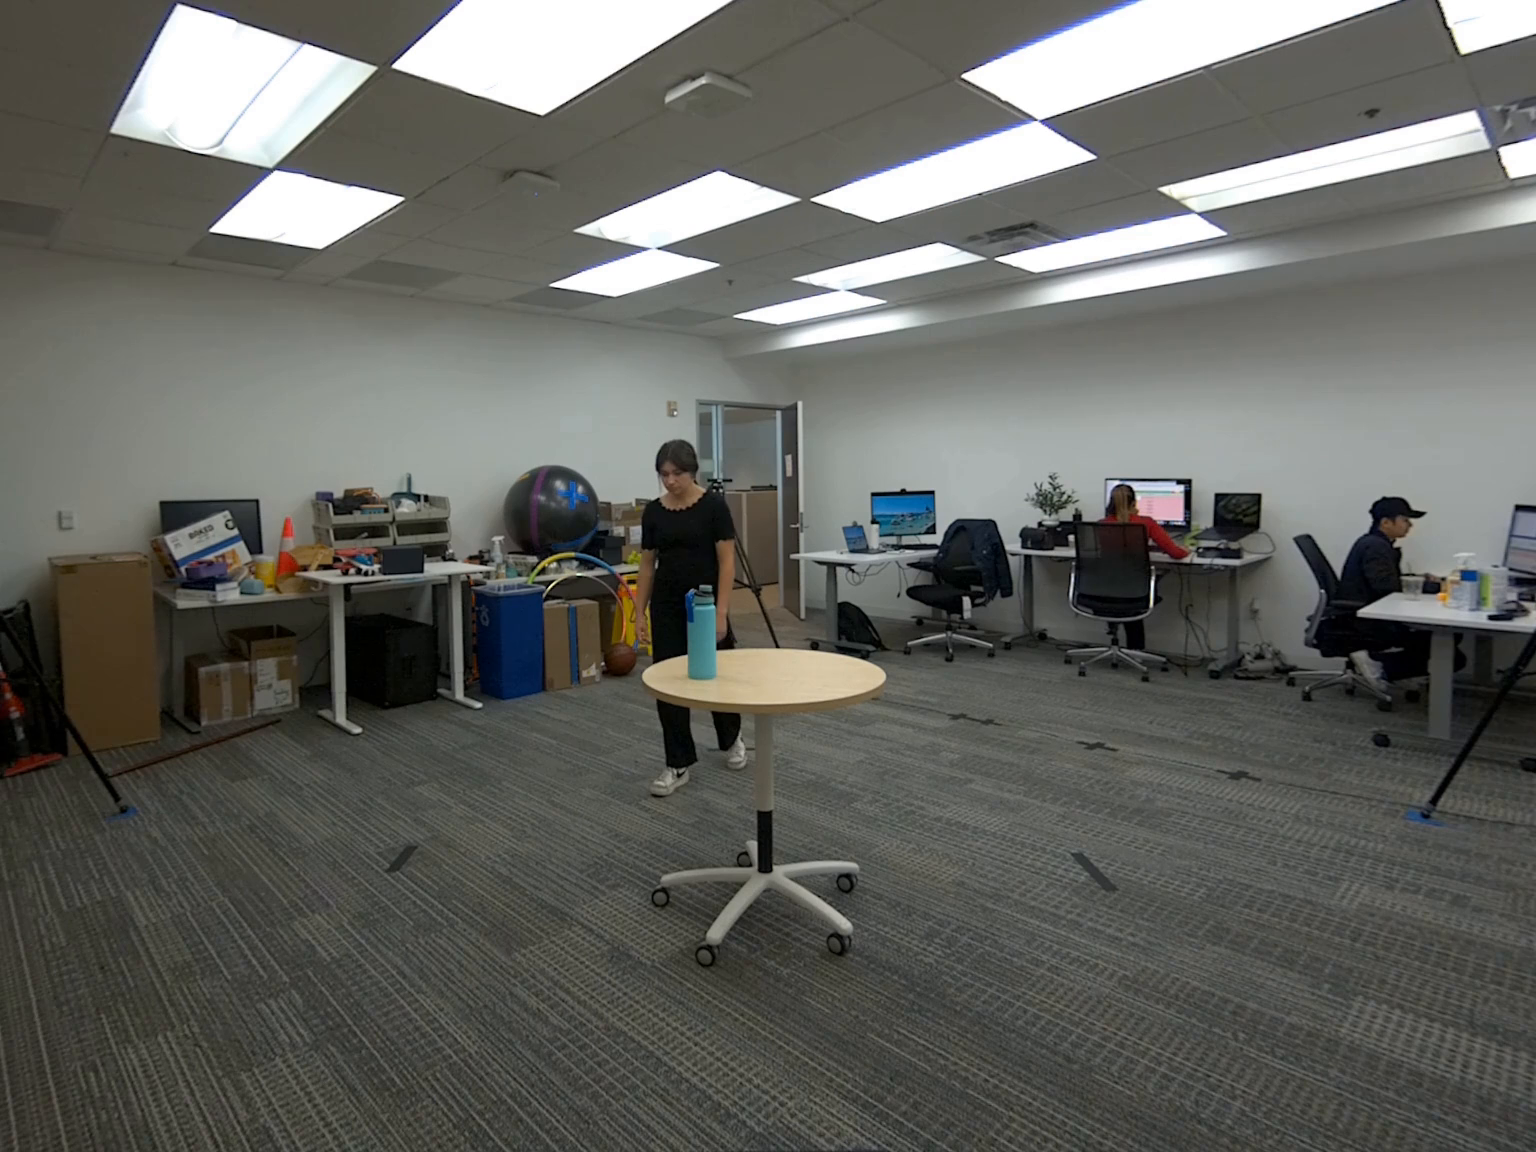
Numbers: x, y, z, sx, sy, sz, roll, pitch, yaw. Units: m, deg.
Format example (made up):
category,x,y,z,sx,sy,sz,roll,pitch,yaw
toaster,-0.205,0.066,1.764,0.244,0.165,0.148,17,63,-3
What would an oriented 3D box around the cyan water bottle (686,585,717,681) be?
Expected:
category,x,y,z,sx,sy,sz,roll,pitch,yaw
cyan water bottle,-0.215,0.177,2.650,0.092,0.282,0.093,-3,4,-1
